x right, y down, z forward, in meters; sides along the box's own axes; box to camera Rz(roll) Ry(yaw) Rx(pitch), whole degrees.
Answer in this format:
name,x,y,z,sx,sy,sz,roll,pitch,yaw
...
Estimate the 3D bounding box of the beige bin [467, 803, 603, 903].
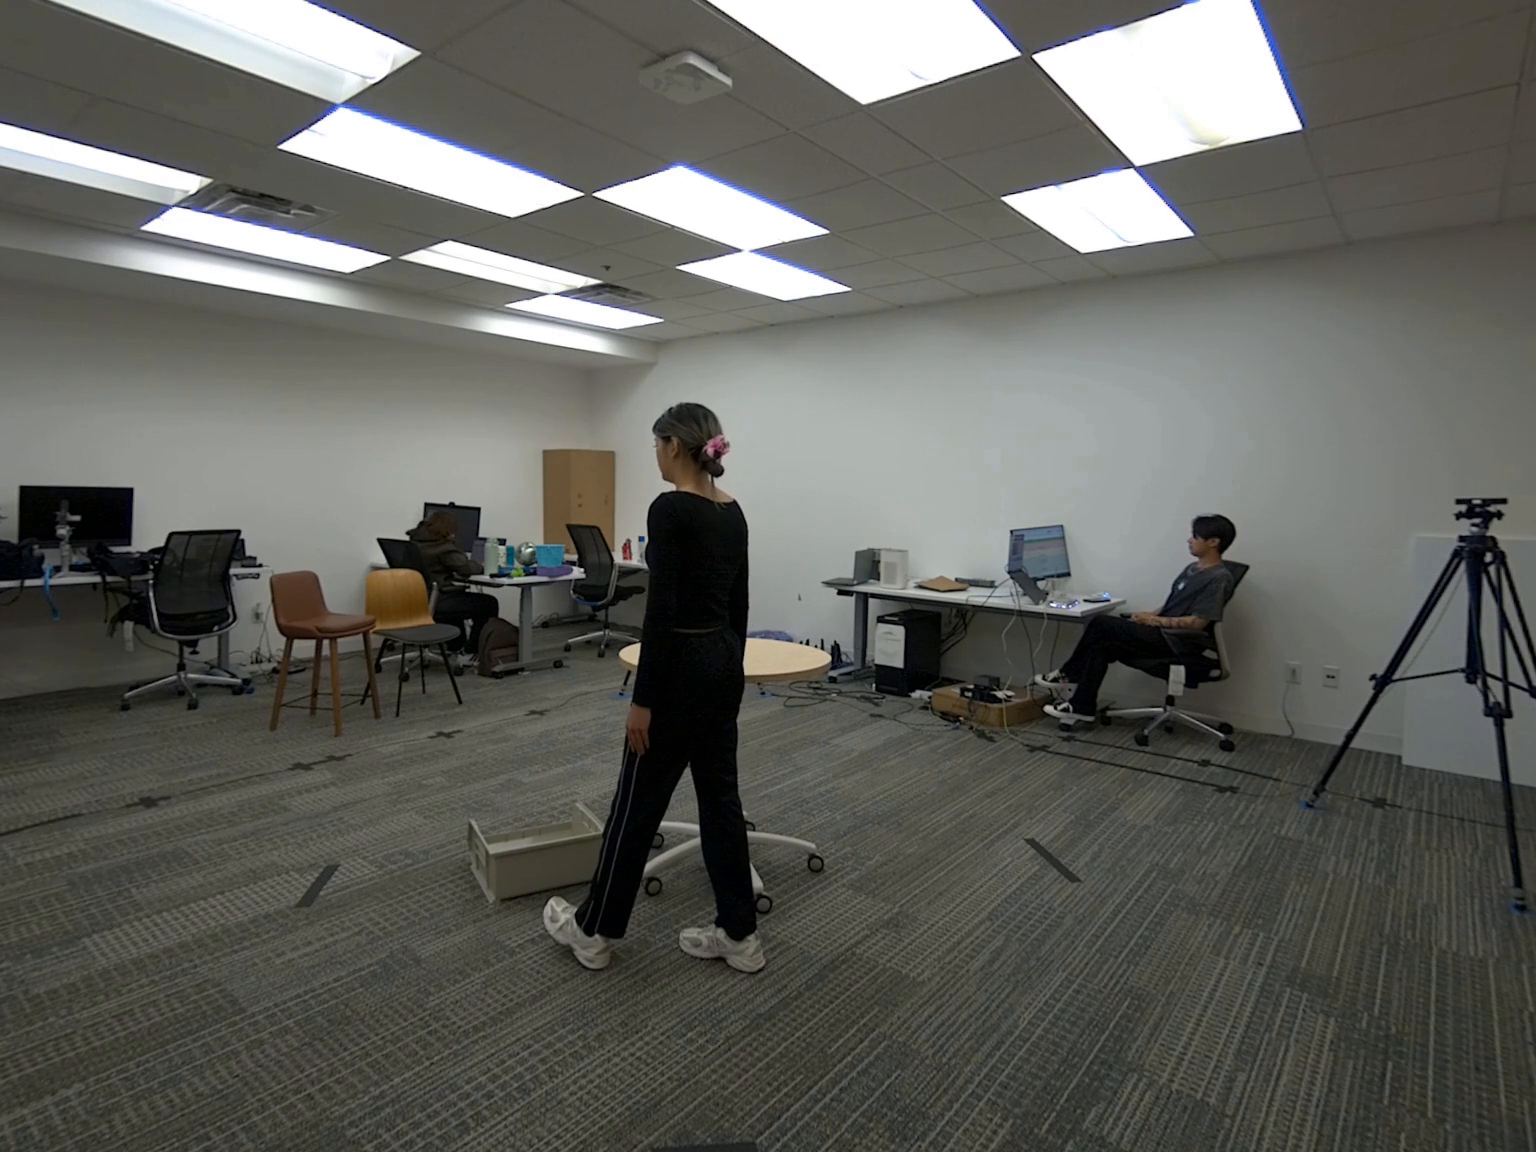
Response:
name,x,y,z,sx,sy,sz,roll,pitch,yaw
beige bin,-0.846,0.976,3.063,0.411,0.188,0.389,-1,6,-30
